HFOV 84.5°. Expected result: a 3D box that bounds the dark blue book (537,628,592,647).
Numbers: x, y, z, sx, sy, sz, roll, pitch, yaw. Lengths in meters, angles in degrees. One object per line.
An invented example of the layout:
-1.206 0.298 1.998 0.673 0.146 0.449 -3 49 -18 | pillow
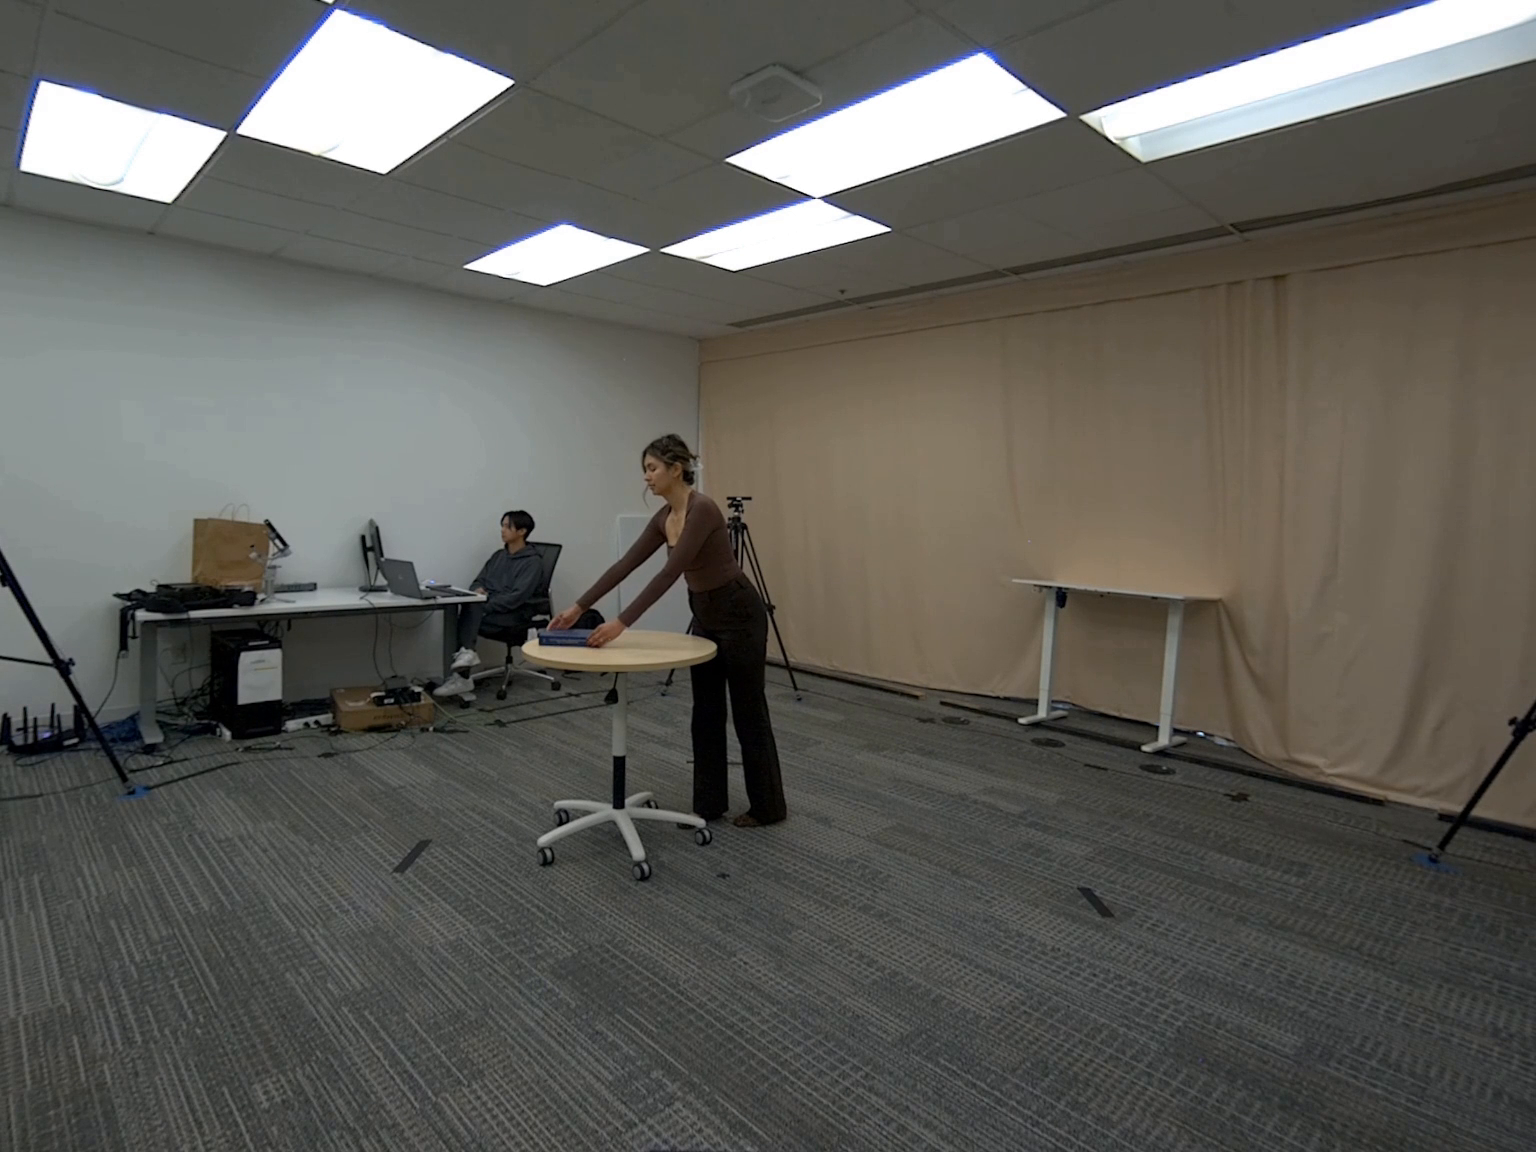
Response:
-0.786 0.251 3.375 0.246 0.045 0.163 2 5 5 | dark blue book
